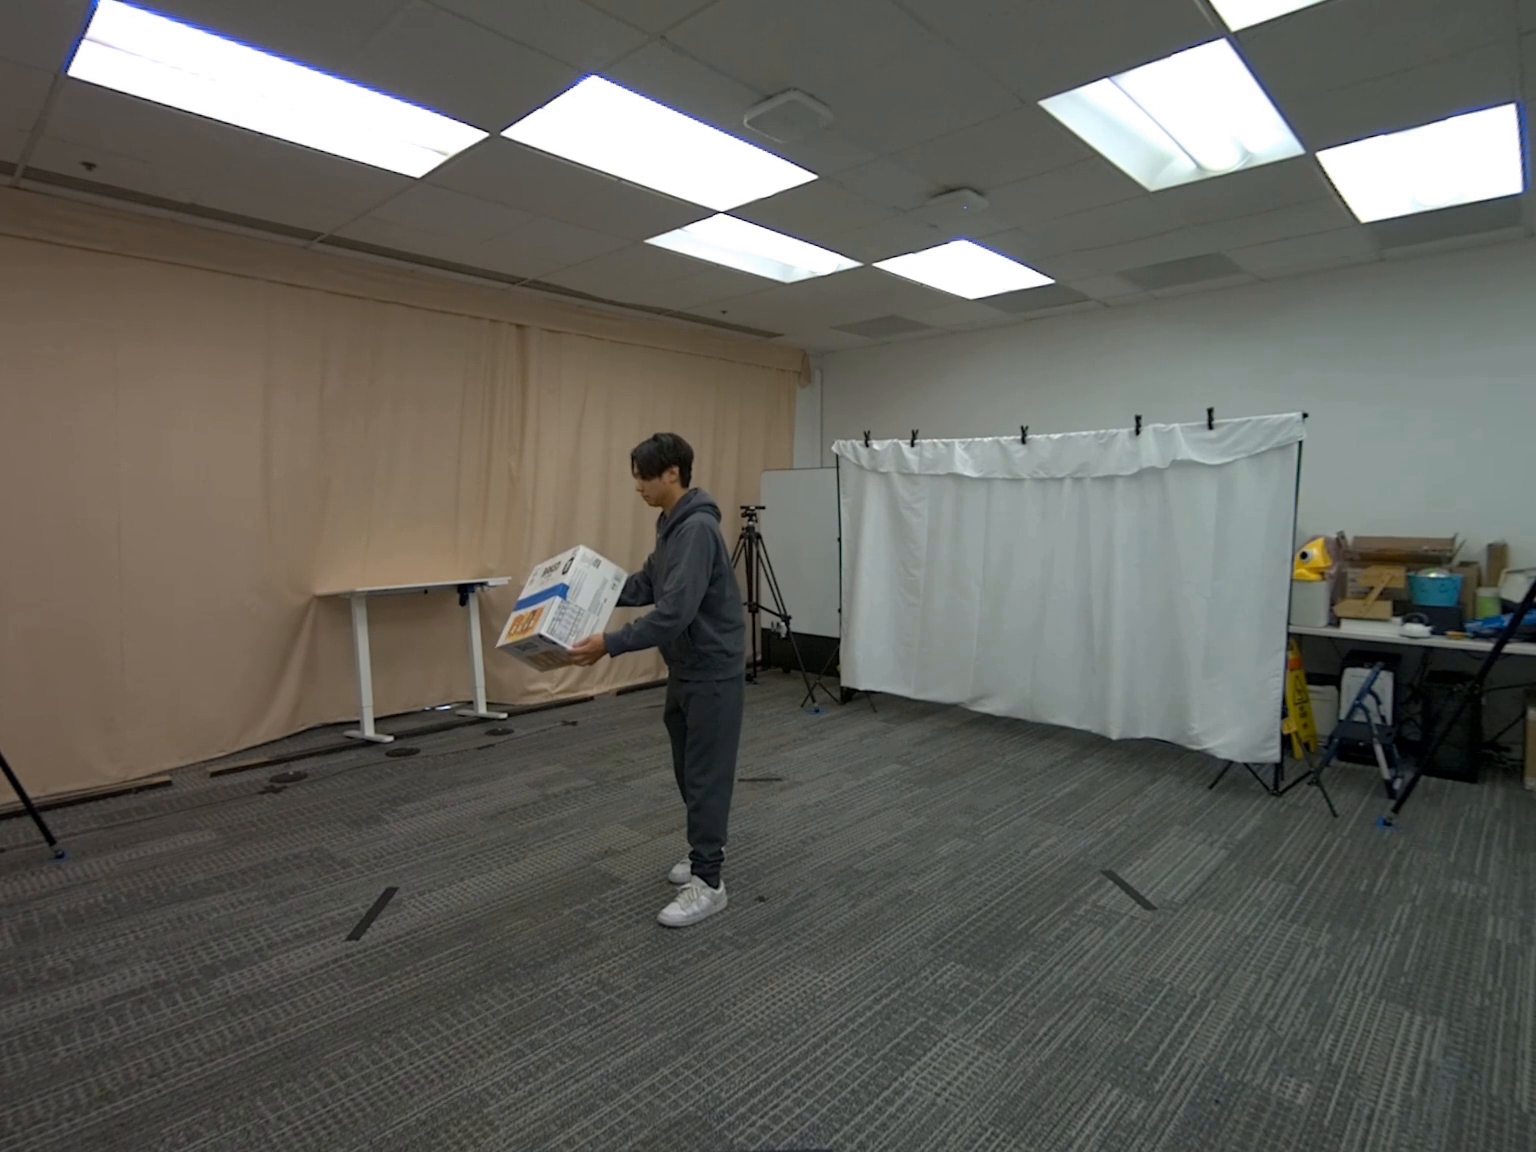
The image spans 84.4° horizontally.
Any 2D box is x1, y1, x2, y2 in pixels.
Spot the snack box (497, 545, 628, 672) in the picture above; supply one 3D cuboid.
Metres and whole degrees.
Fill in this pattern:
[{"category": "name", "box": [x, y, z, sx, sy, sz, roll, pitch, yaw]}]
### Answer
[{"category": "snack box", "box": [-0.720, 0.126, 2.946, 0.200, 0.342, 0.415, 34, -29, -27]}]
